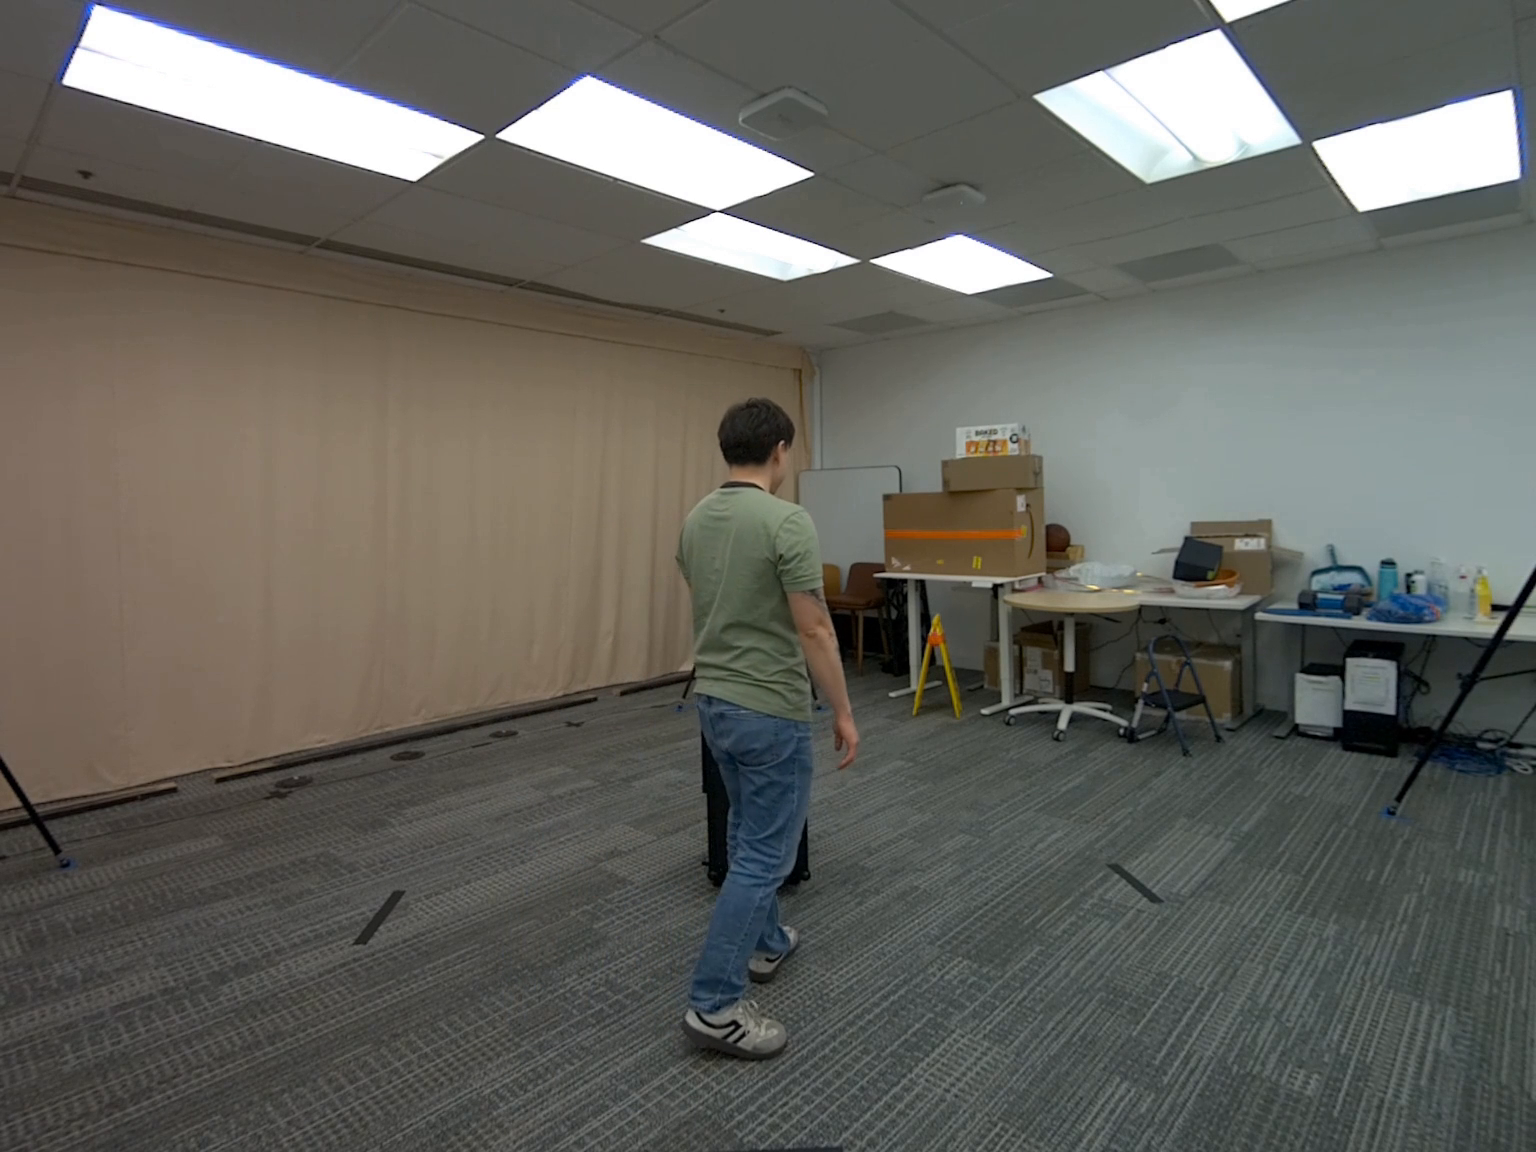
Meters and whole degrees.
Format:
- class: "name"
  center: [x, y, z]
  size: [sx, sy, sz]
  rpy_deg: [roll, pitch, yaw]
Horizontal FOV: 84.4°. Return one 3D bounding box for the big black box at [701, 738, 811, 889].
- class: "big black box"
  center: [-0.055, 0.696, 3.177]
  size: [0.397, 0.859, 0.521]
  rpy_deg: [-1, 4, 1]
